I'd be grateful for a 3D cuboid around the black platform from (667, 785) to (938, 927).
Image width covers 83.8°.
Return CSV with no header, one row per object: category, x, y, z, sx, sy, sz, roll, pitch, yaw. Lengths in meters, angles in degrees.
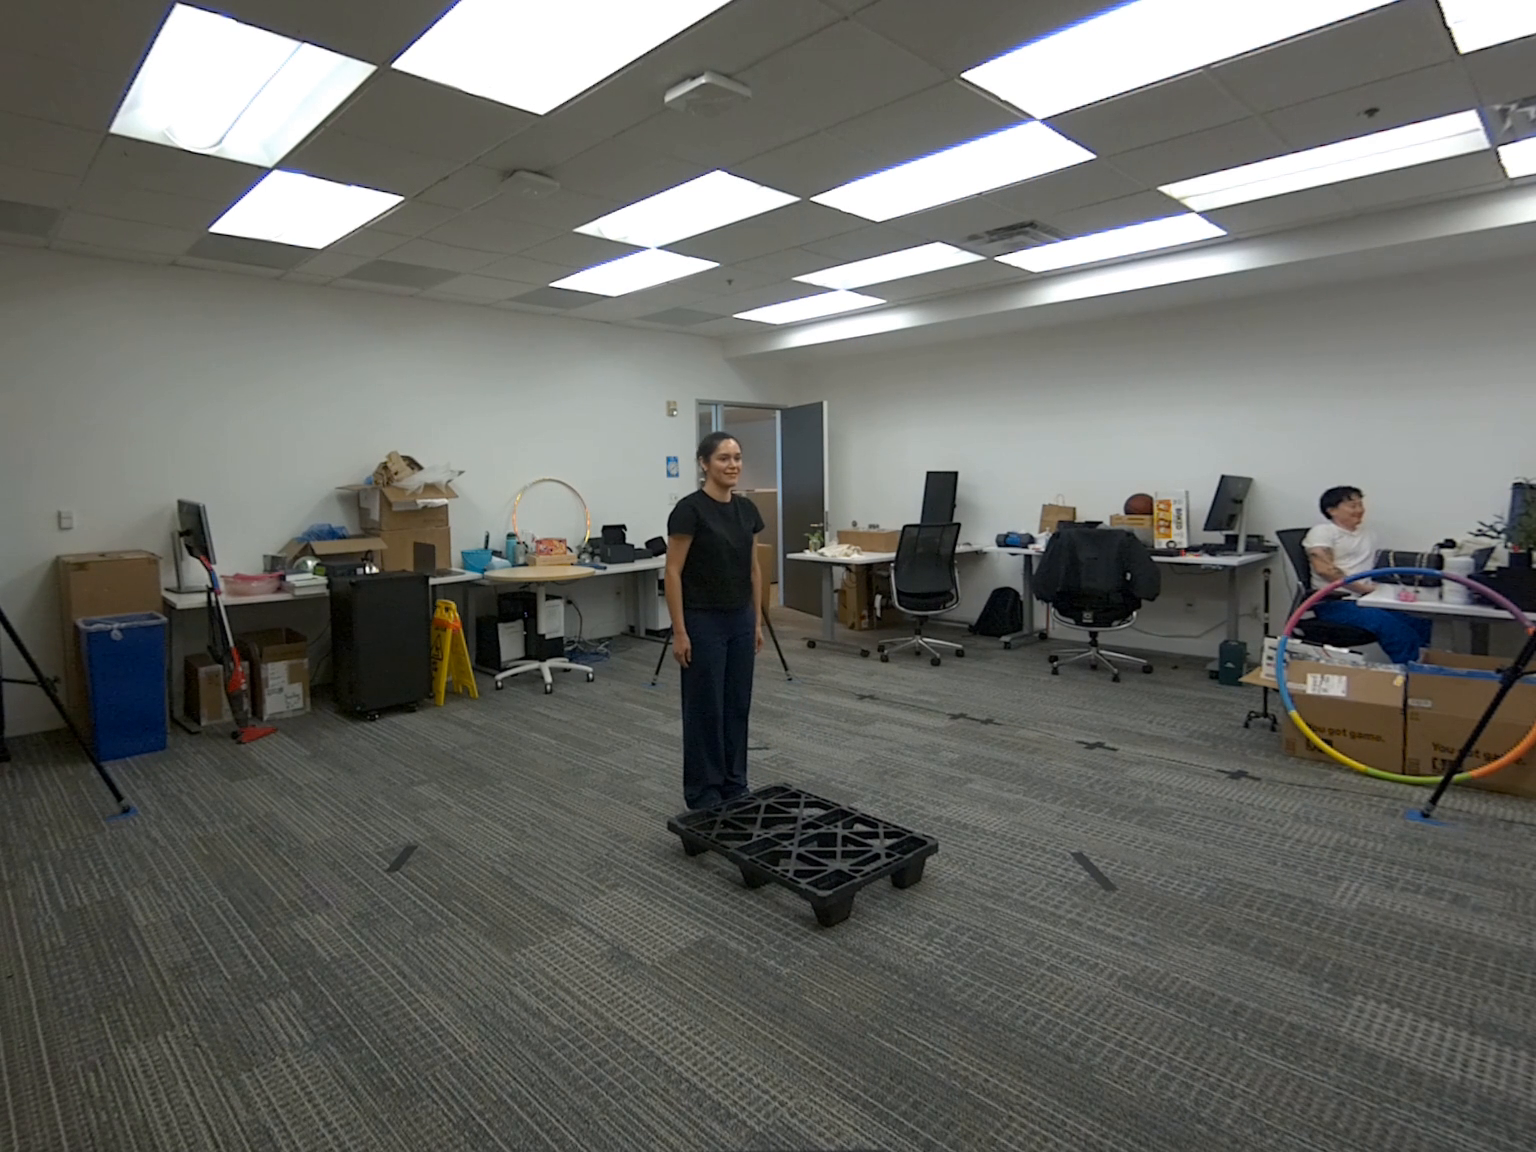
black platform,0.108,0.980,3.077,0.589,0.142,0.830,-7,9,-42
